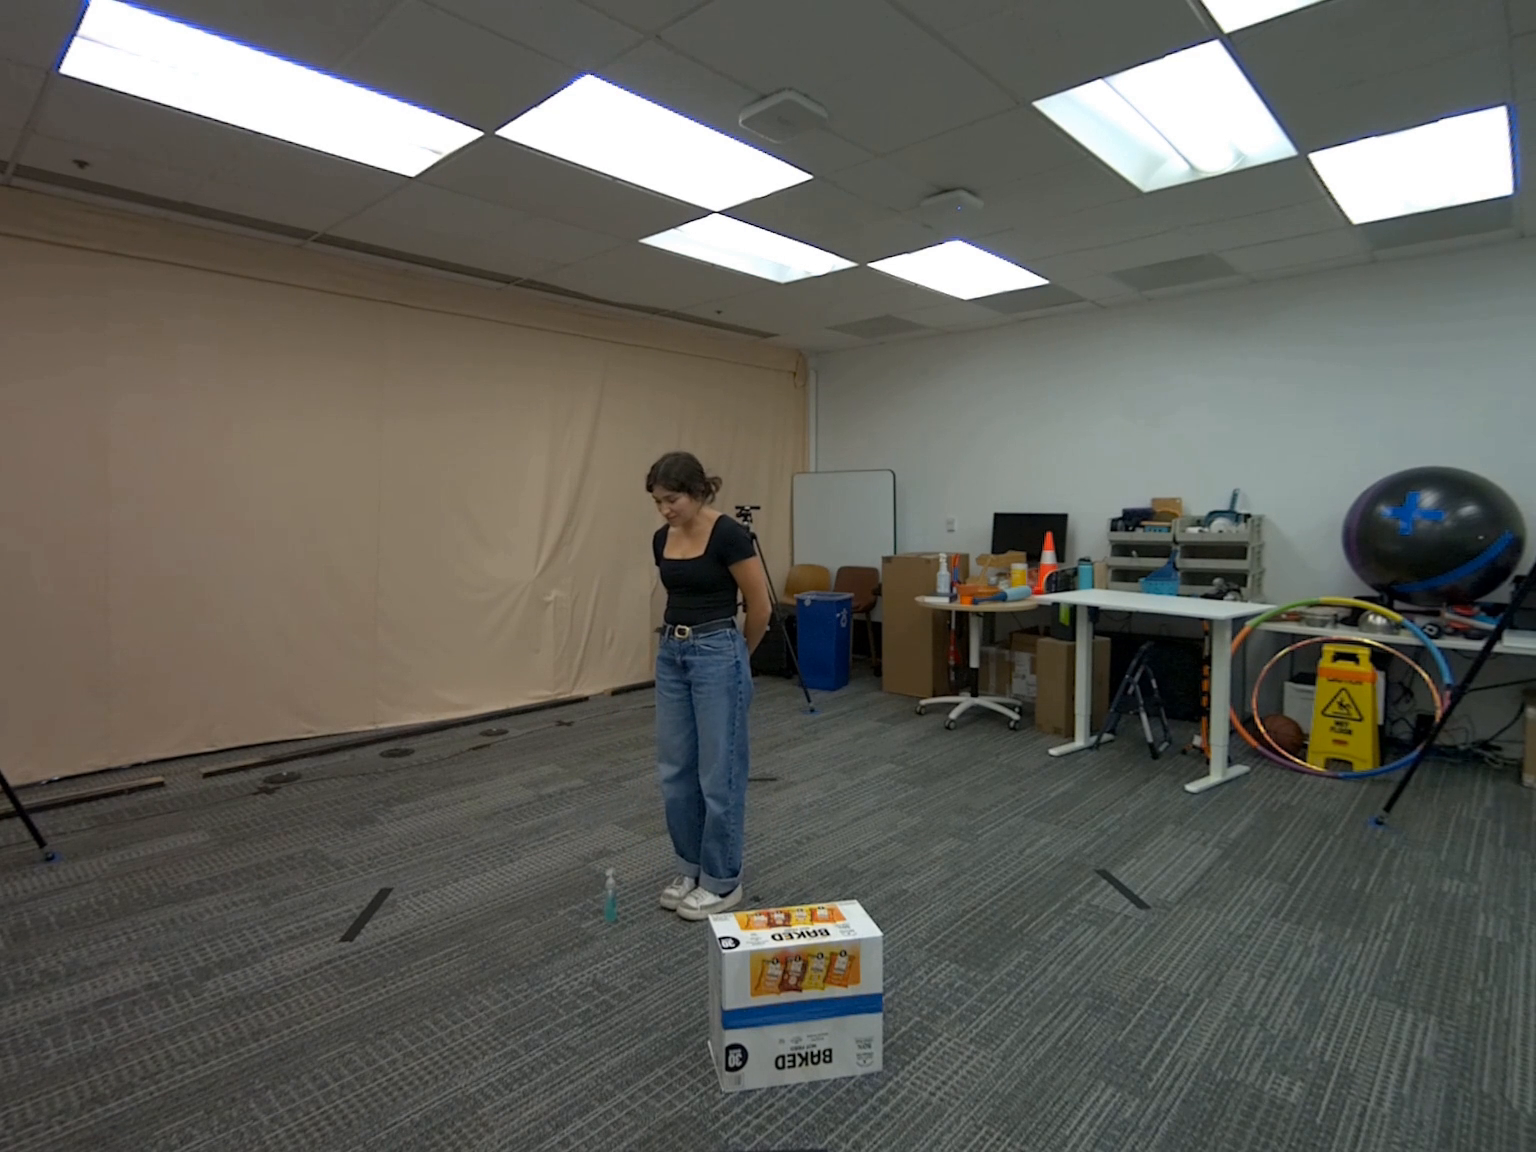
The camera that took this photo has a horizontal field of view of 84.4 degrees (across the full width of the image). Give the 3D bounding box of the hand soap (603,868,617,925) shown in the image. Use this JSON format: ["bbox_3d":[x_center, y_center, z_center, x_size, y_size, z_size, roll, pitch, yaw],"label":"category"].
[{"bbox_3d":[-0.530,1.083,2.840,0.044,0.167,0.084,5,7,5],"label":"hand soap"}]
